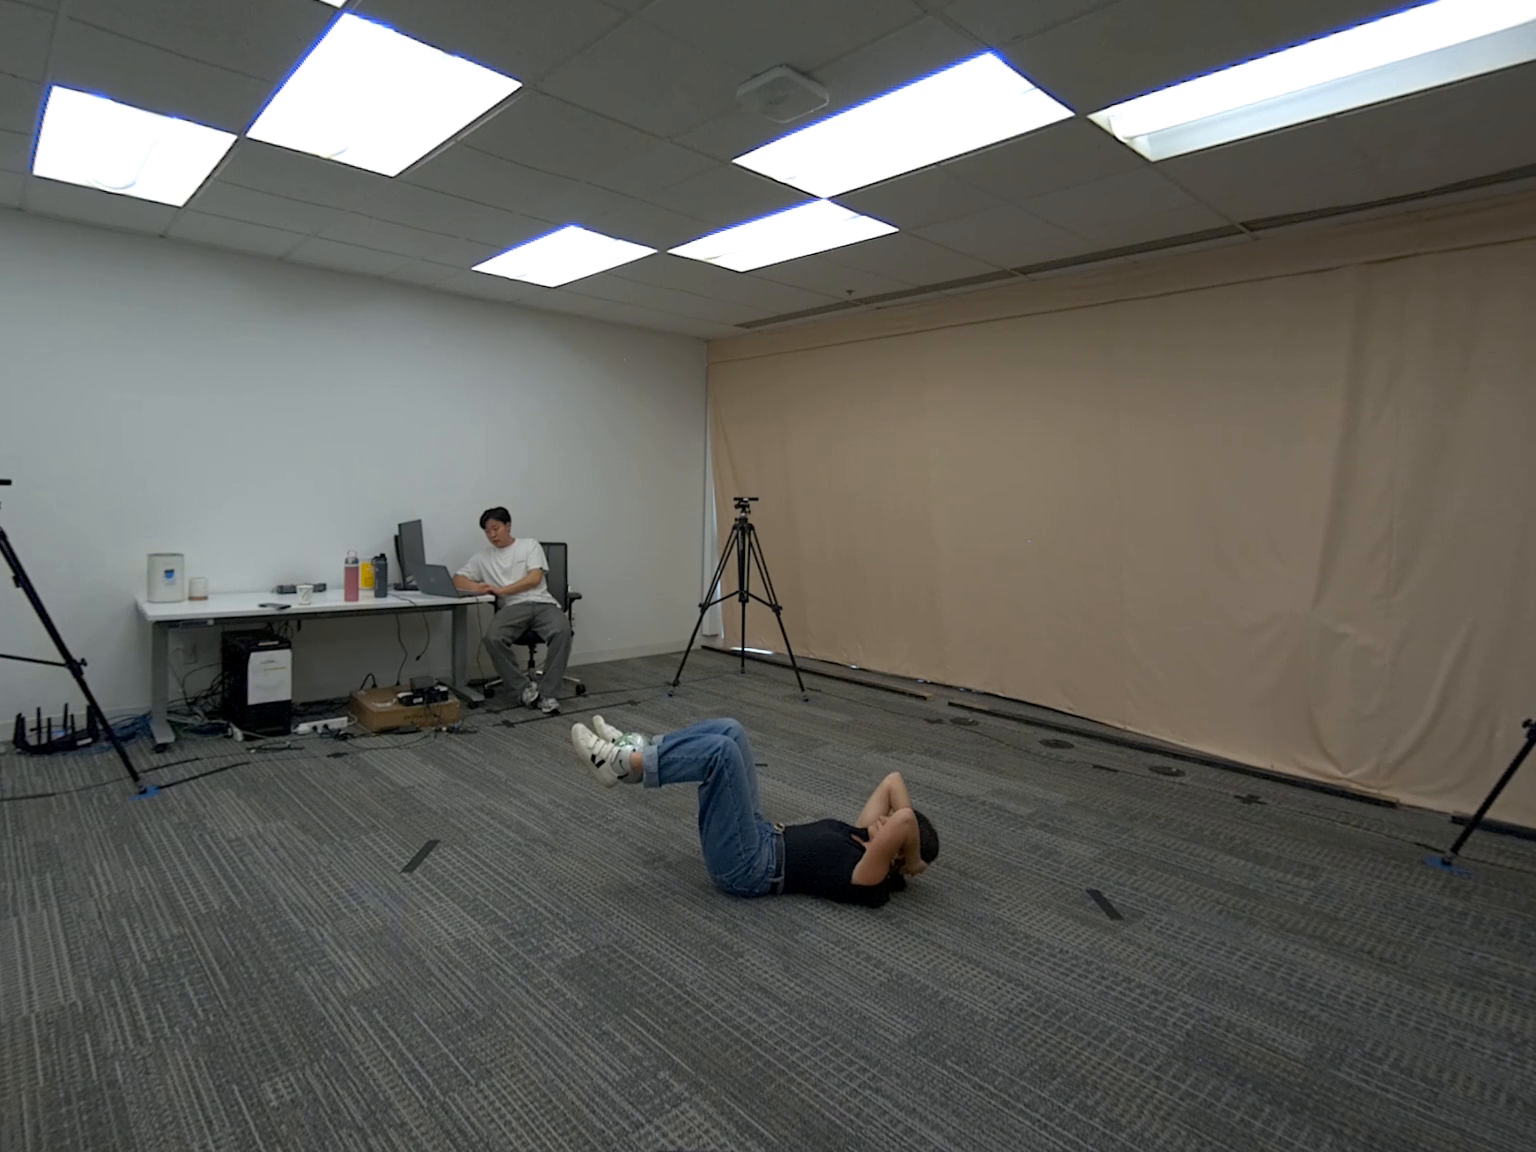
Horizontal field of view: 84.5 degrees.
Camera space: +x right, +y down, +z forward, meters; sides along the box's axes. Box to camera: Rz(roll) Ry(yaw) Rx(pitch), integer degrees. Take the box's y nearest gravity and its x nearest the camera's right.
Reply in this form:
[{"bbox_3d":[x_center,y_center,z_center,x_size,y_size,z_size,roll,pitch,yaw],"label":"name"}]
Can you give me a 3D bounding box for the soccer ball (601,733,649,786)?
[{"bbox_3d":[-0.510,0.680,3.100,0.187,0.186,0.188,1,7,-1],"label":"soccer ball"}]
